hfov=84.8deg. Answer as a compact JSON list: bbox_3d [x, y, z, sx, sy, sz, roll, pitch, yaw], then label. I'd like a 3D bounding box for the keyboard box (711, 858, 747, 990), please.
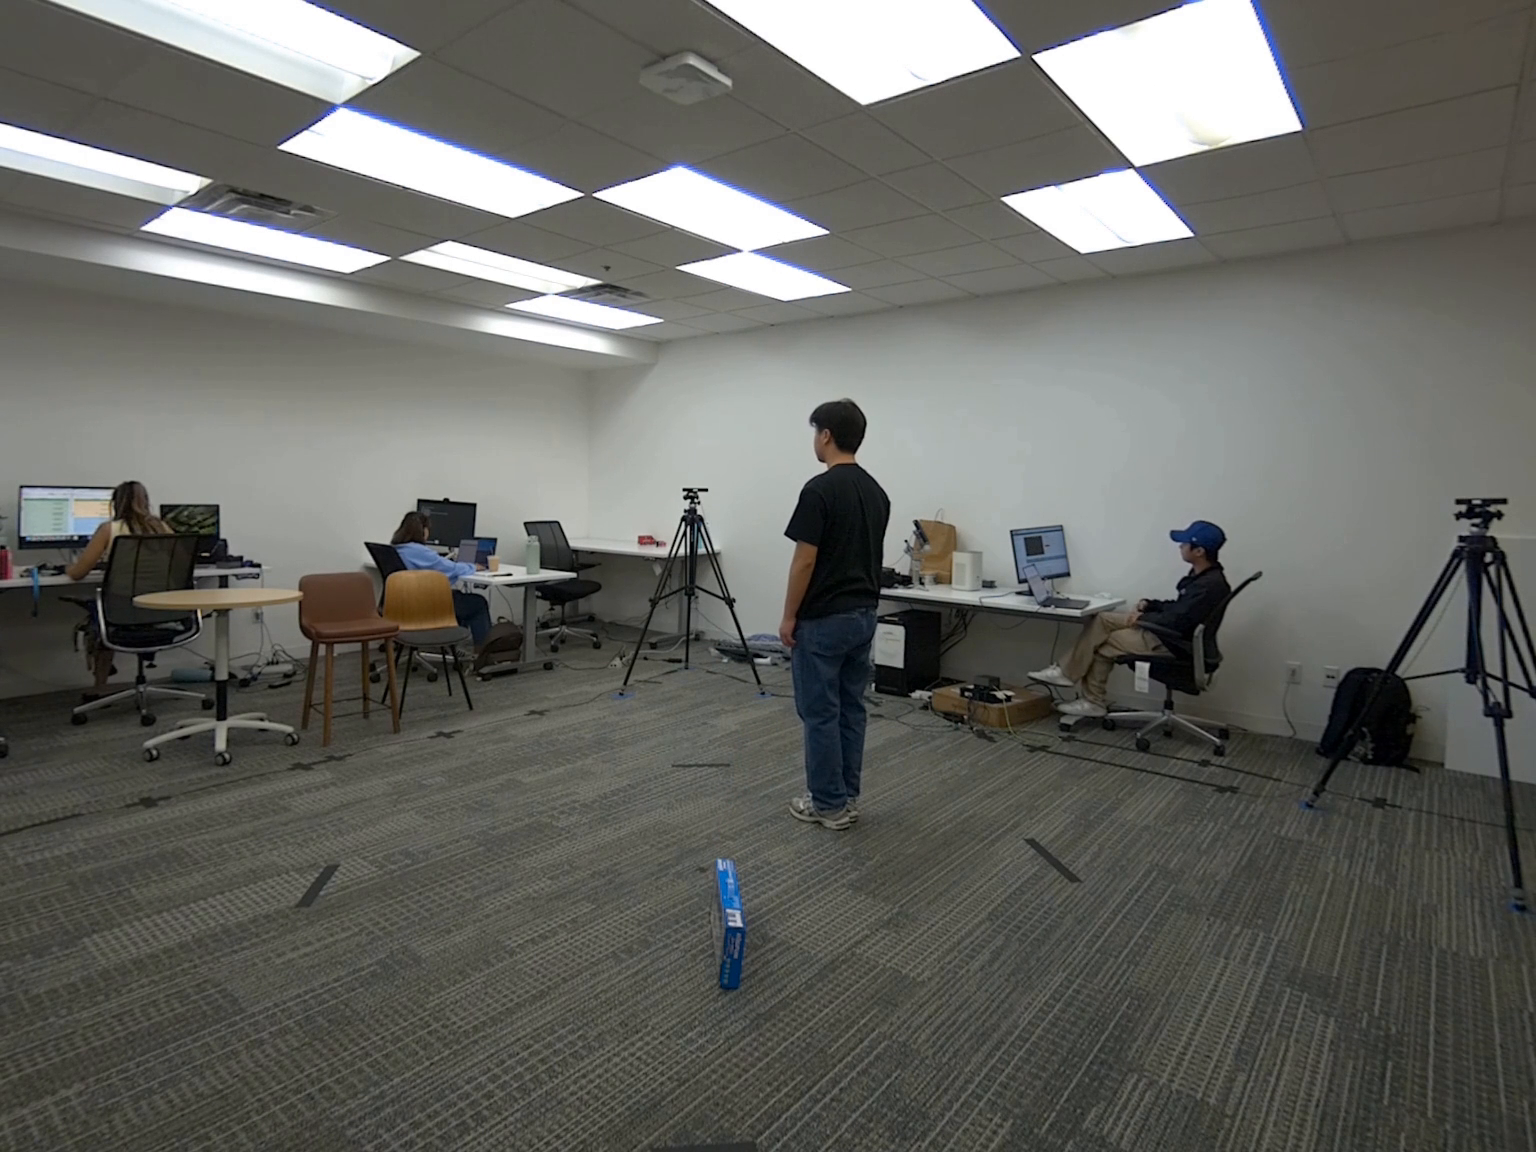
[{"bbox_3d":[-0.134,1.035,2.573,0.058,0.175,0.441,5,5,-8],"label":"keyboard box"}]
